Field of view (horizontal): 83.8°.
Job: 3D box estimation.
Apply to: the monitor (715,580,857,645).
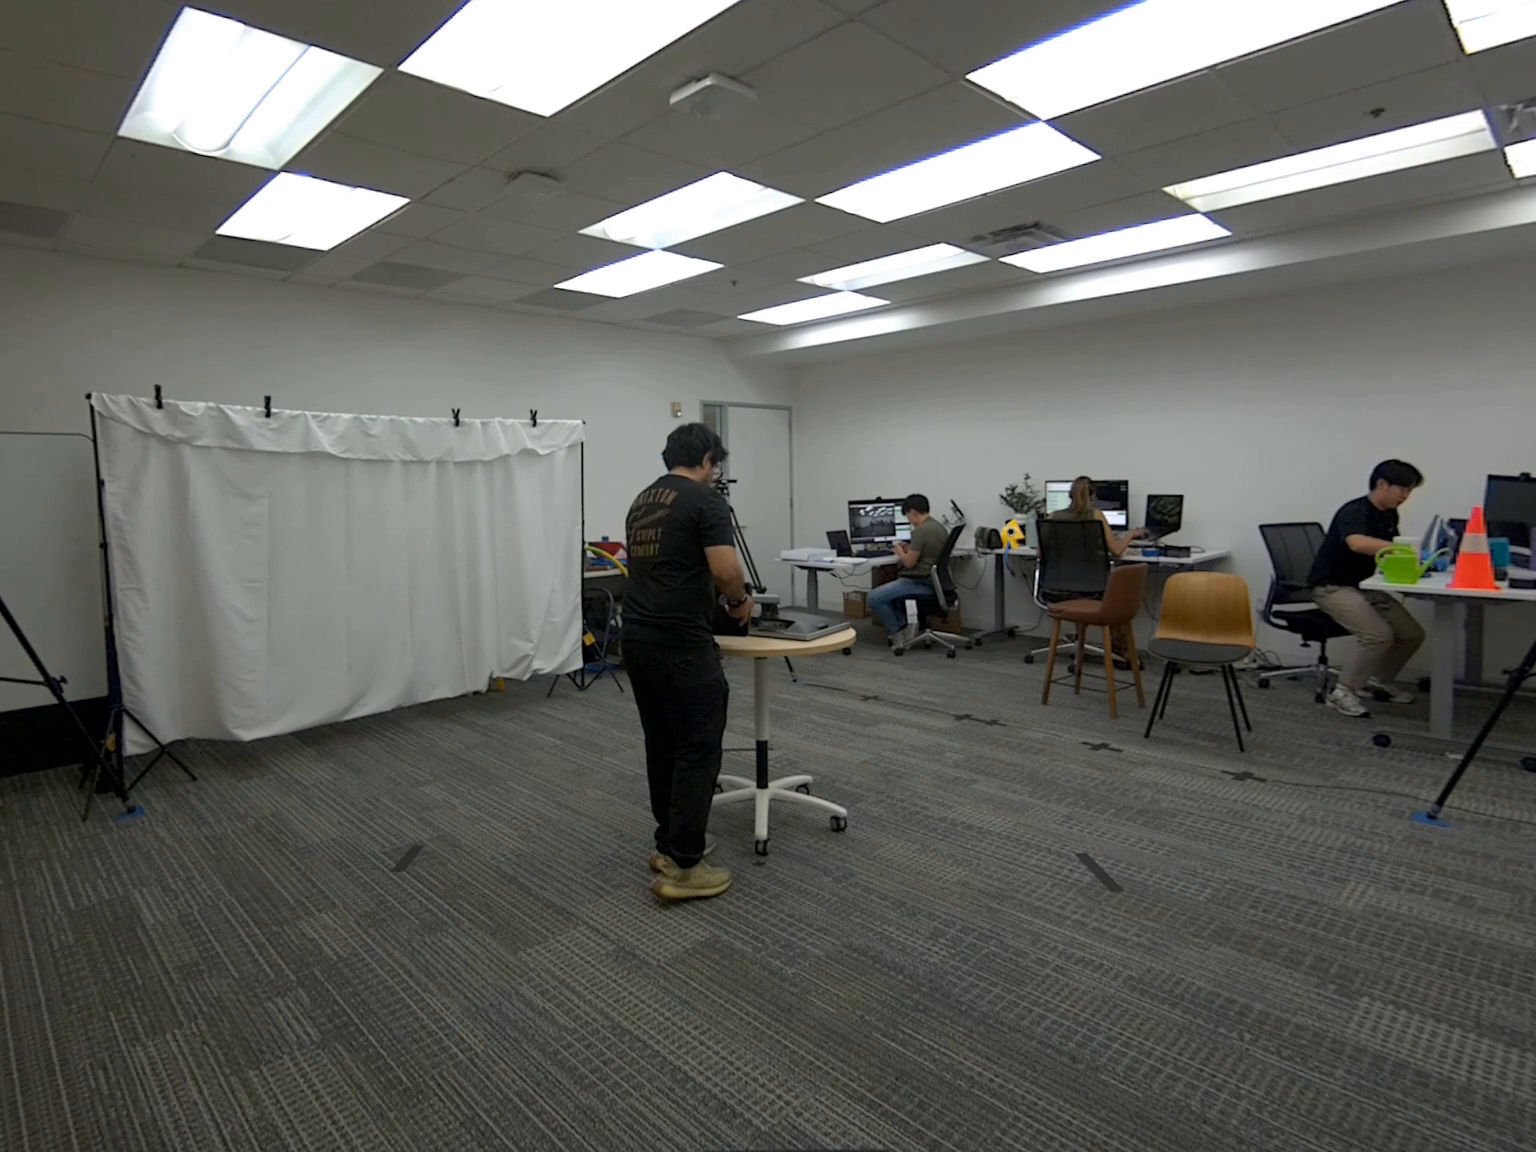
[{"bbox_3d":[-0.029,0.131,3.451,0.581,0.210,0.538,2,0,33],"label":"monitor"}]
